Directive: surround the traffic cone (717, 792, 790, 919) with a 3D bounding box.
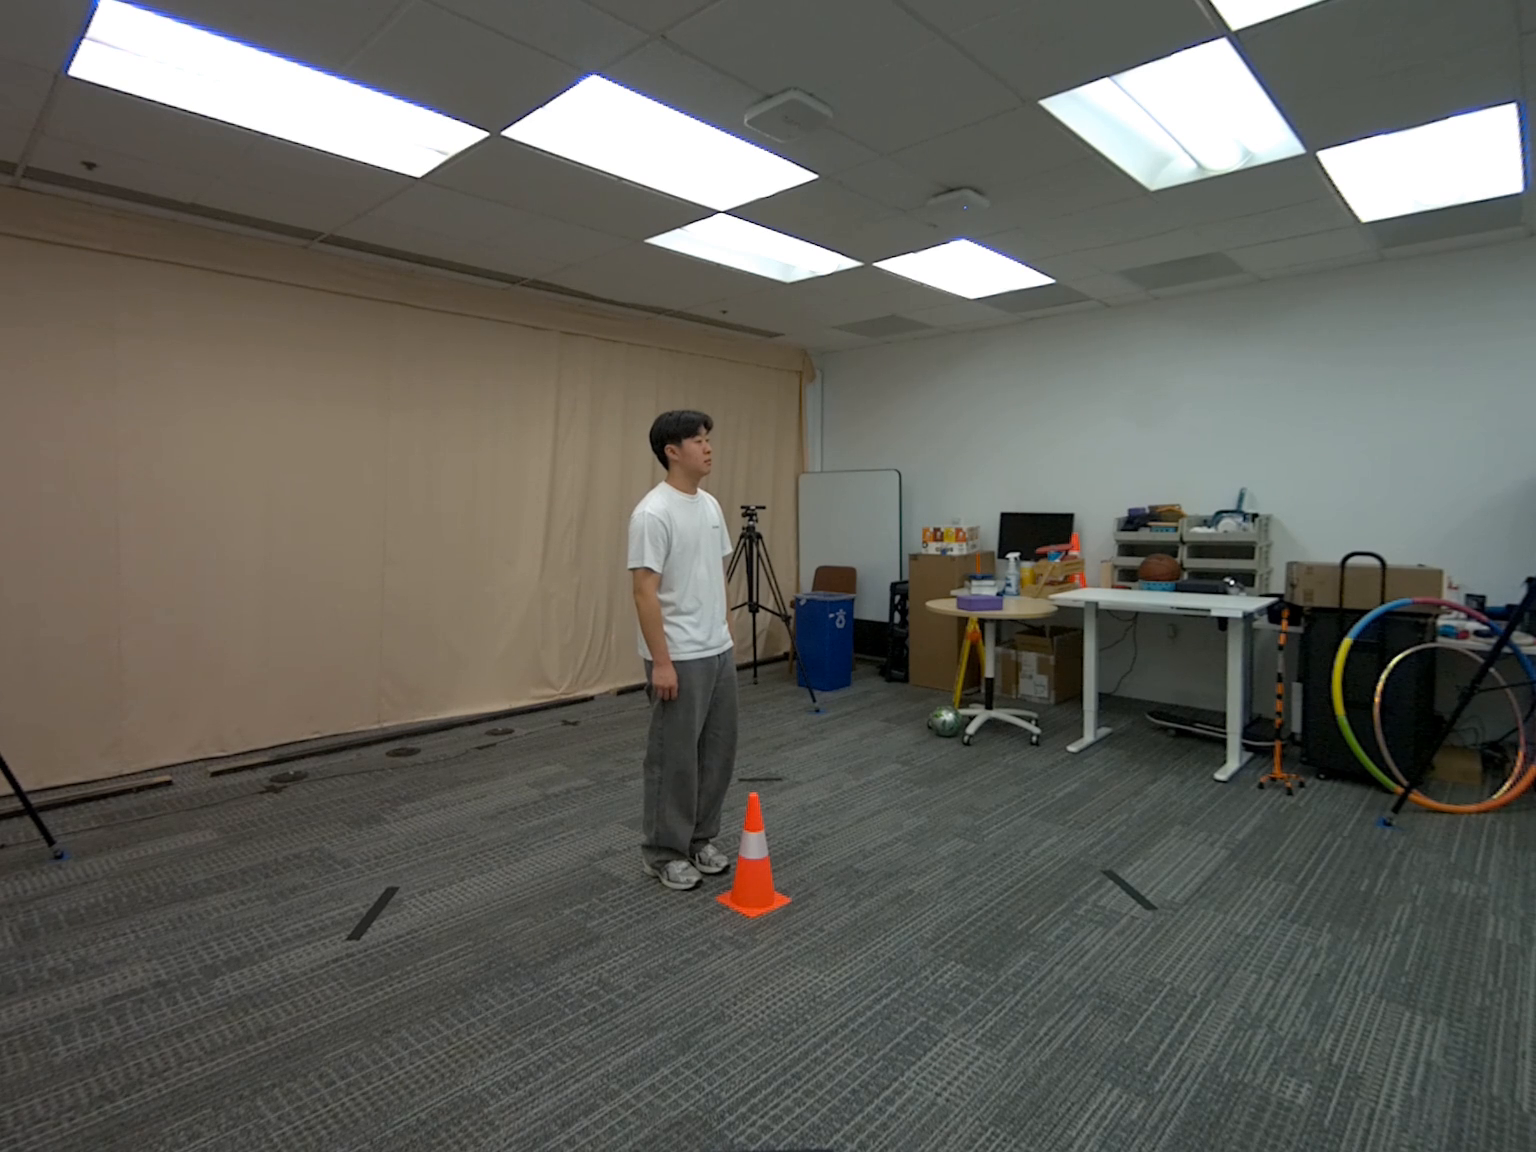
[{"bbox_3d":[-0.044,0.962,2.958,0.197,0.382,0.211,-3,6,-35],"label":"traffic cone"}]
